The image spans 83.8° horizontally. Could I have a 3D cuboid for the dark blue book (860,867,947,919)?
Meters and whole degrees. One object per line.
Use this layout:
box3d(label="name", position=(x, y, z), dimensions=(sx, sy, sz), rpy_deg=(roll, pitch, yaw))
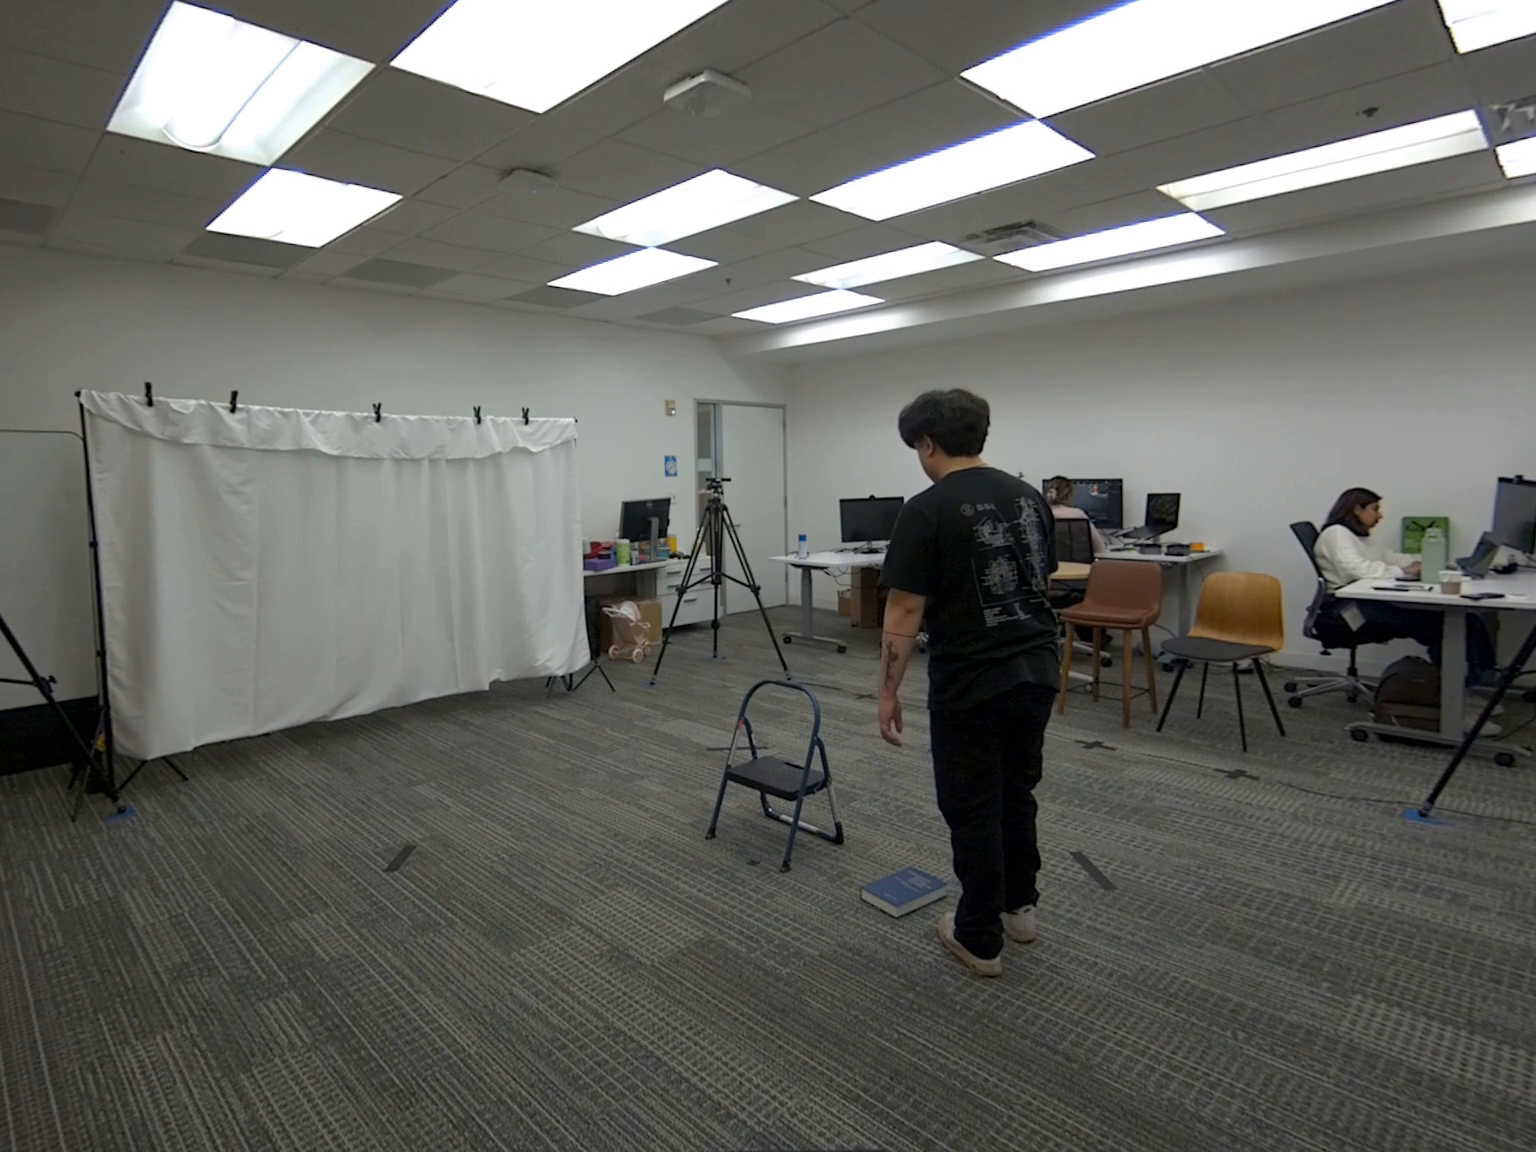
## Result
box3d(label="dark blue book", position=(0.459, 1.047, 2.821), dimensions=(0.239, 0.045, 0.168), rpy_deg=(-6, 8, -36))
